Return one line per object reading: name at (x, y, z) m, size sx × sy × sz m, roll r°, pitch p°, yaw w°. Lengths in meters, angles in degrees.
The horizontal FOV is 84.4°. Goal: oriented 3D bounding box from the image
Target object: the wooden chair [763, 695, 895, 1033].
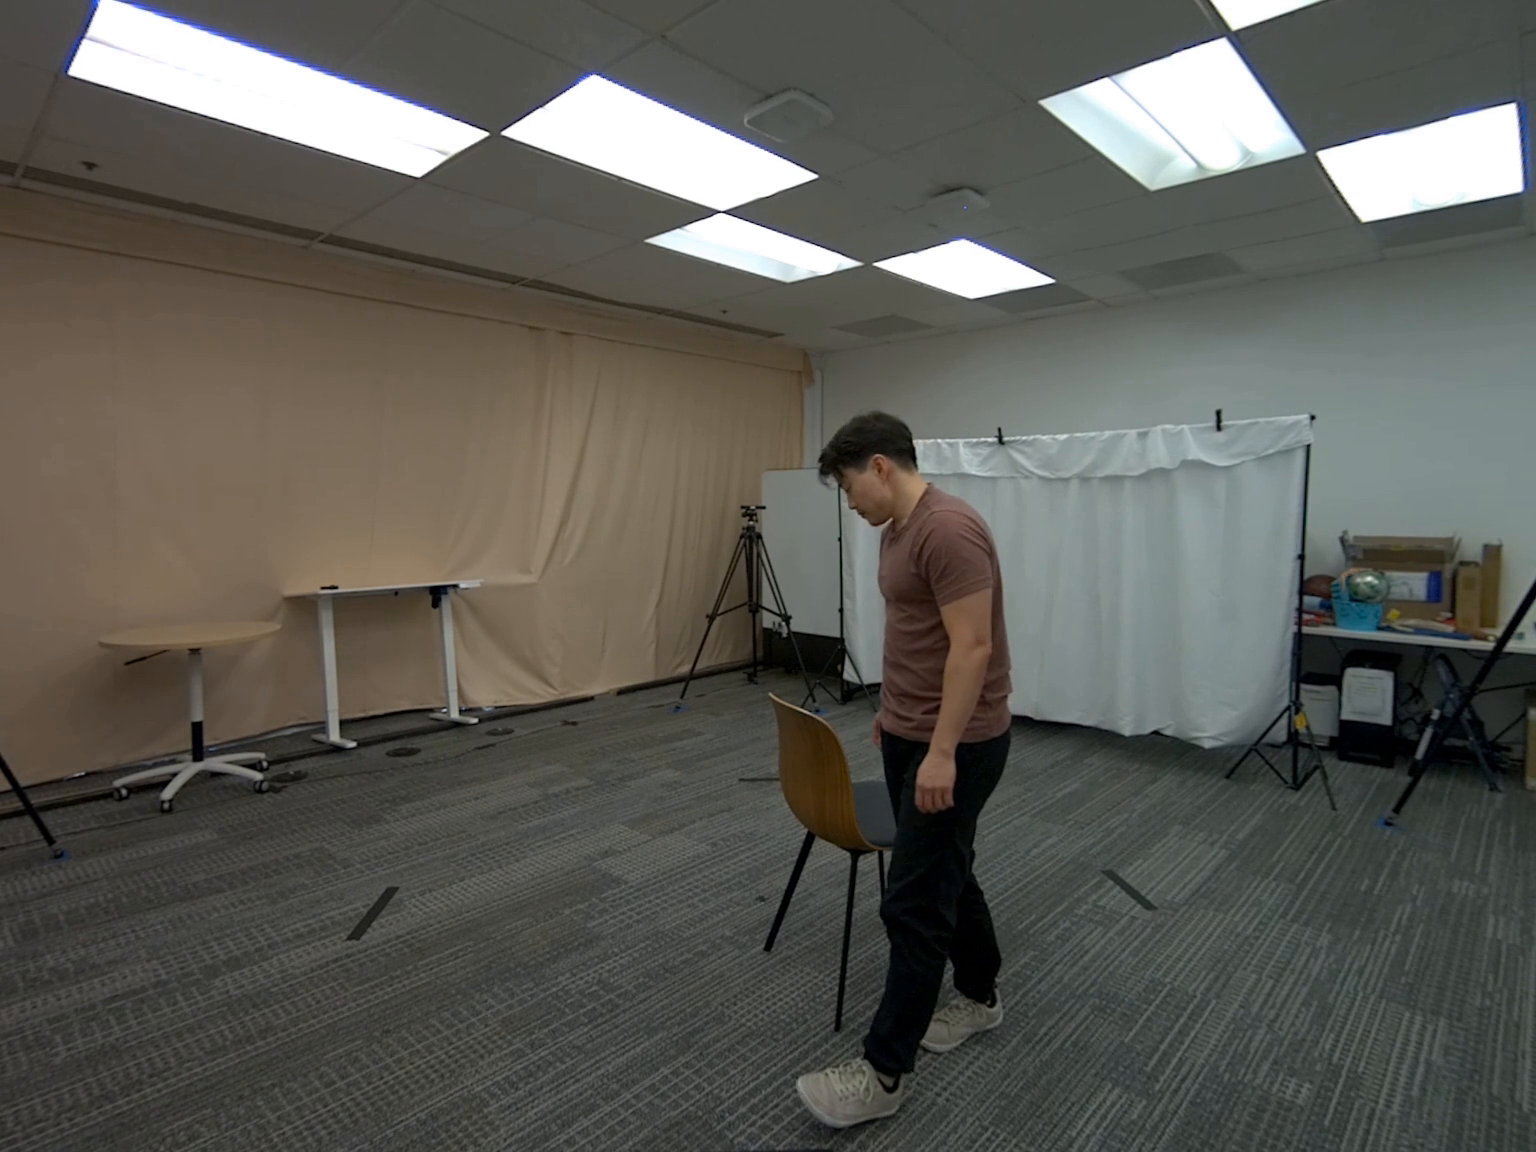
wooden chair at (0.299, 0.756, 2.492) m, size 0.512 × 0.874 × 0.490 m, roll -6°, pitch 5°, yaw -24°
